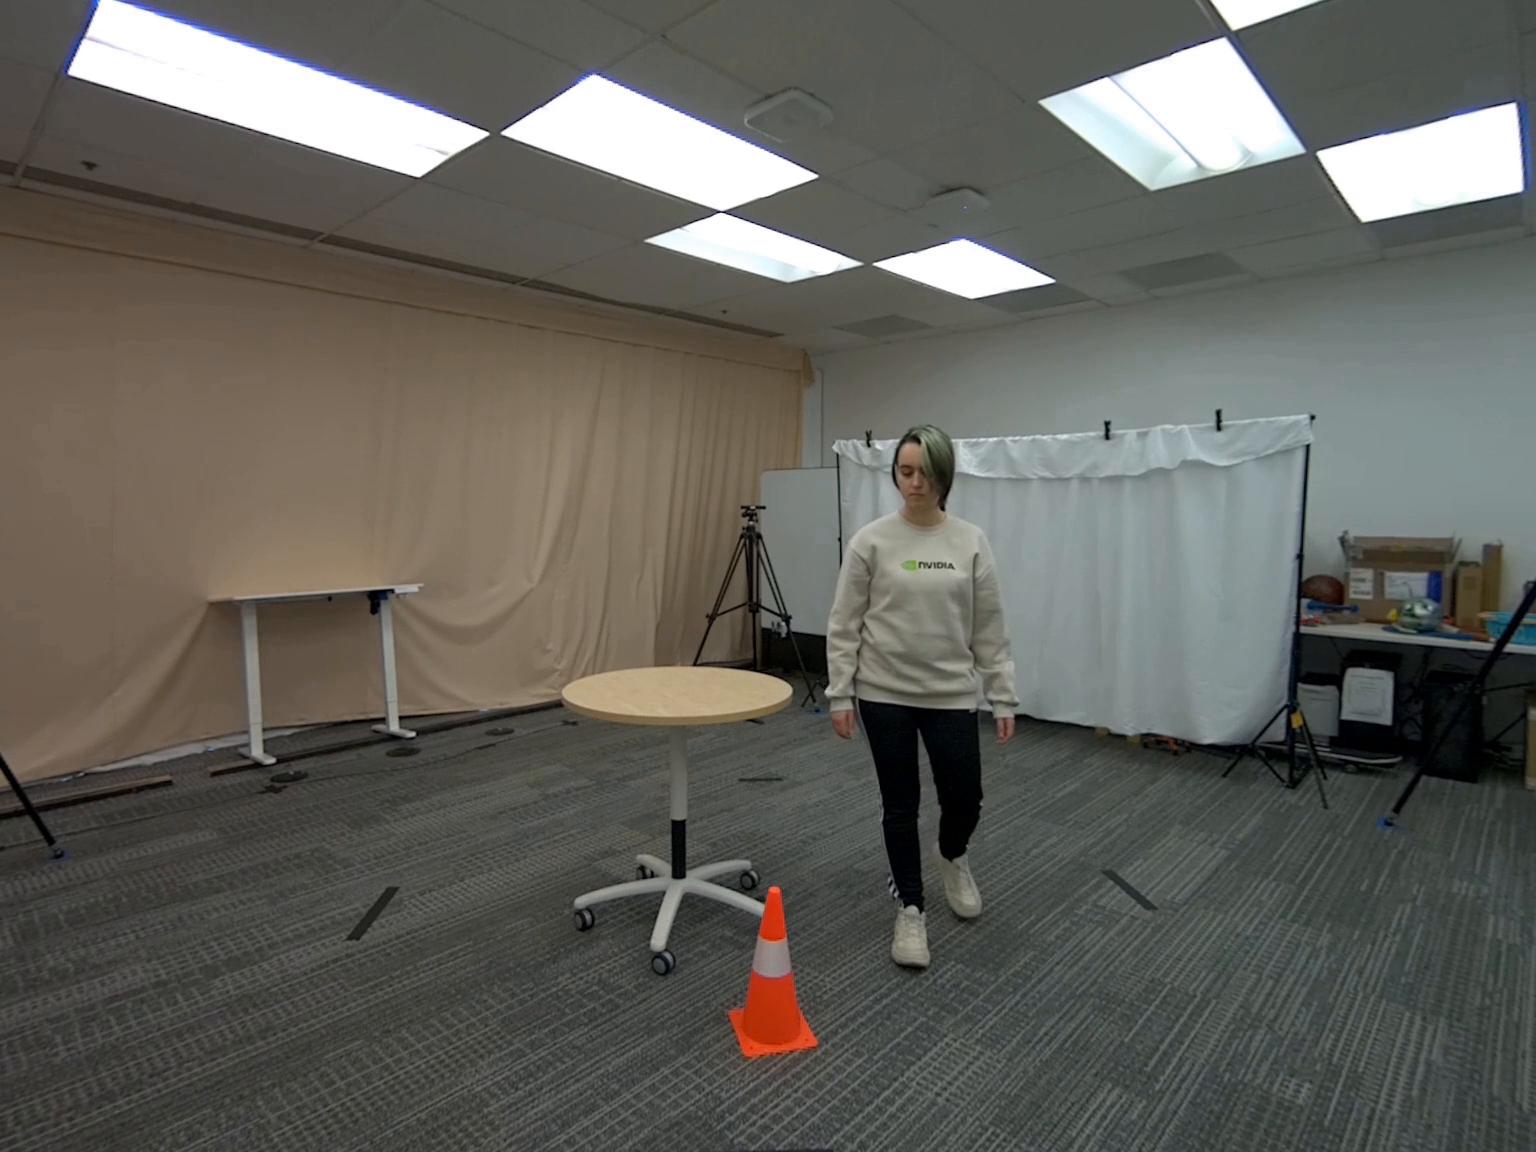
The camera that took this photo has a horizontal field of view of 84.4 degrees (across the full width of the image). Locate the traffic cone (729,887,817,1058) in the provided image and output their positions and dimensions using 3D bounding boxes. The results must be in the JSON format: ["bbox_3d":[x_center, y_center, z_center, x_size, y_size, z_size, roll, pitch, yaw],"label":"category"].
[{"bbox_3d":[0.017,1.025,2.223,0.200,0.382,0.208,-1,4,-14],"label":"traffic cone"}]
